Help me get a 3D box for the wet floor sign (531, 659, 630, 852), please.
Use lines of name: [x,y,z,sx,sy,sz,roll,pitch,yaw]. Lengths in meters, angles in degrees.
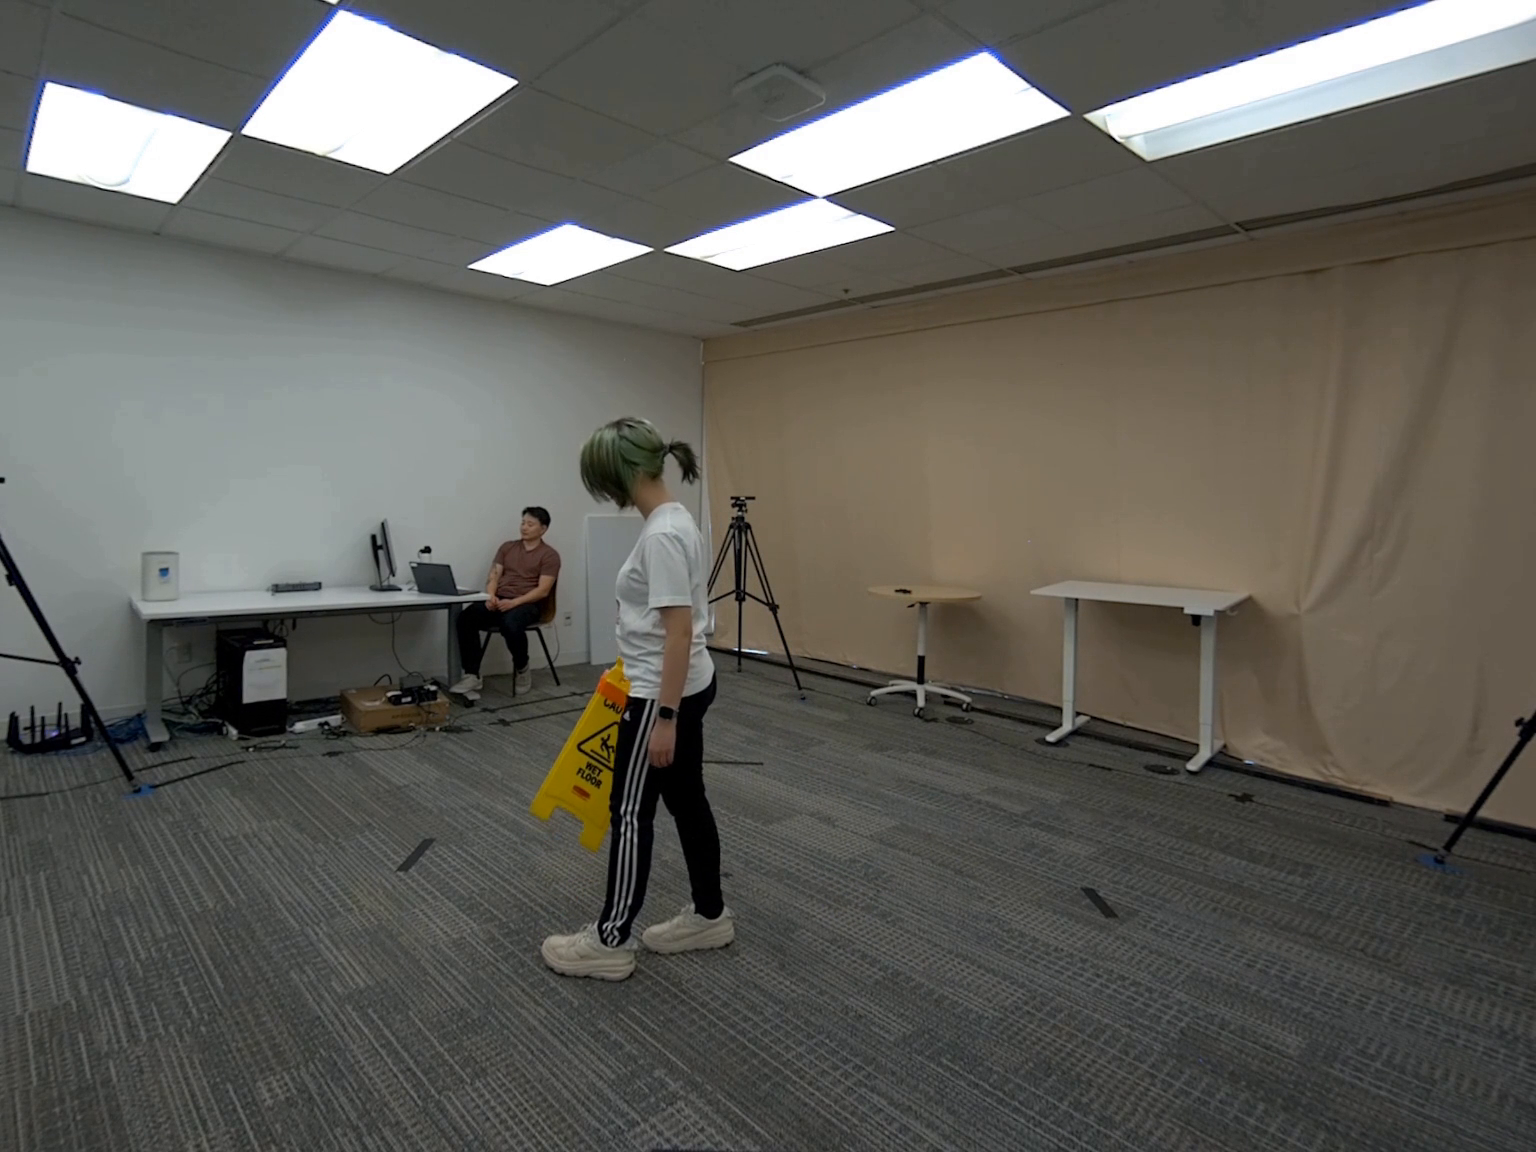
wet floor sign: [-0.546,0.576,2.889,0.285,0.642,0.288,26,17,9]
